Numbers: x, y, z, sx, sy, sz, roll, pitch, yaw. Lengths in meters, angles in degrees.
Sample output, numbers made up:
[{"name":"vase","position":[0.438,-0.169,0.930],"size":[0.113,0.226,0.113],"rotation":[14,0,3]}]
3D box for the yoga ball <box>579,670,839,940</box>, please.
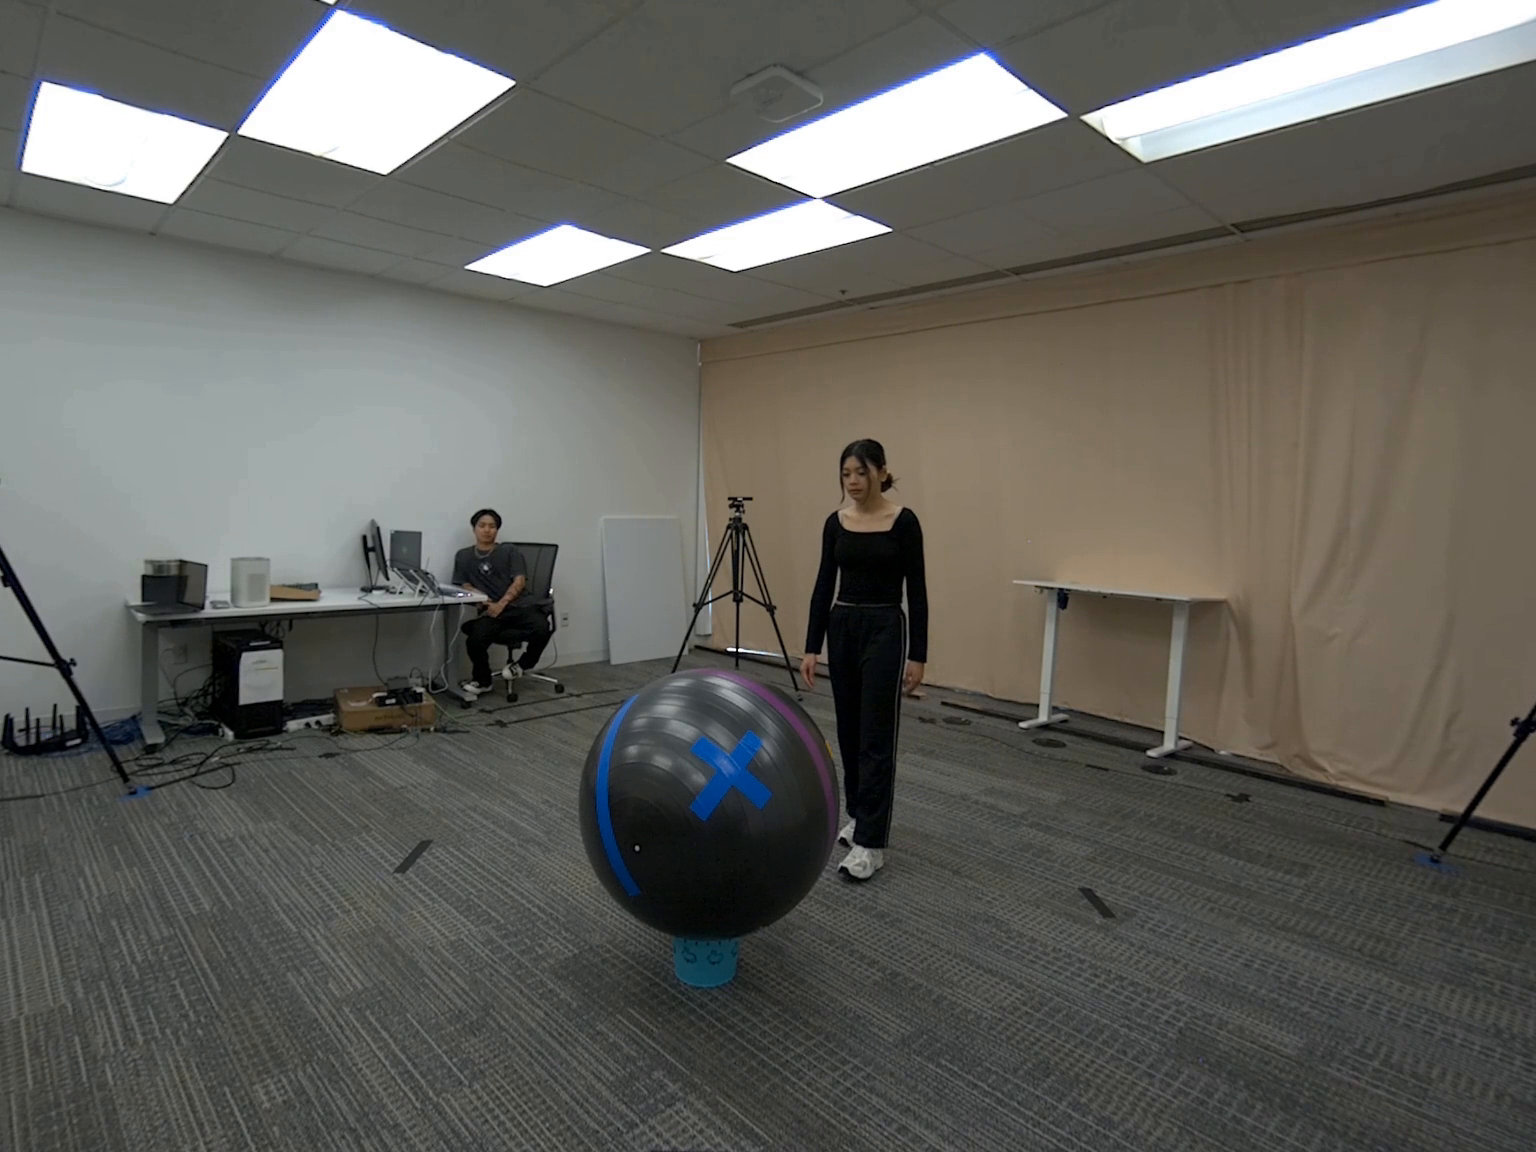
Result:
[{"name":"yoga ball","position":[-0.177,0.658,2.458],"size":[0.757,0.756,0.761],"rotation":[1,4,-1]}]
